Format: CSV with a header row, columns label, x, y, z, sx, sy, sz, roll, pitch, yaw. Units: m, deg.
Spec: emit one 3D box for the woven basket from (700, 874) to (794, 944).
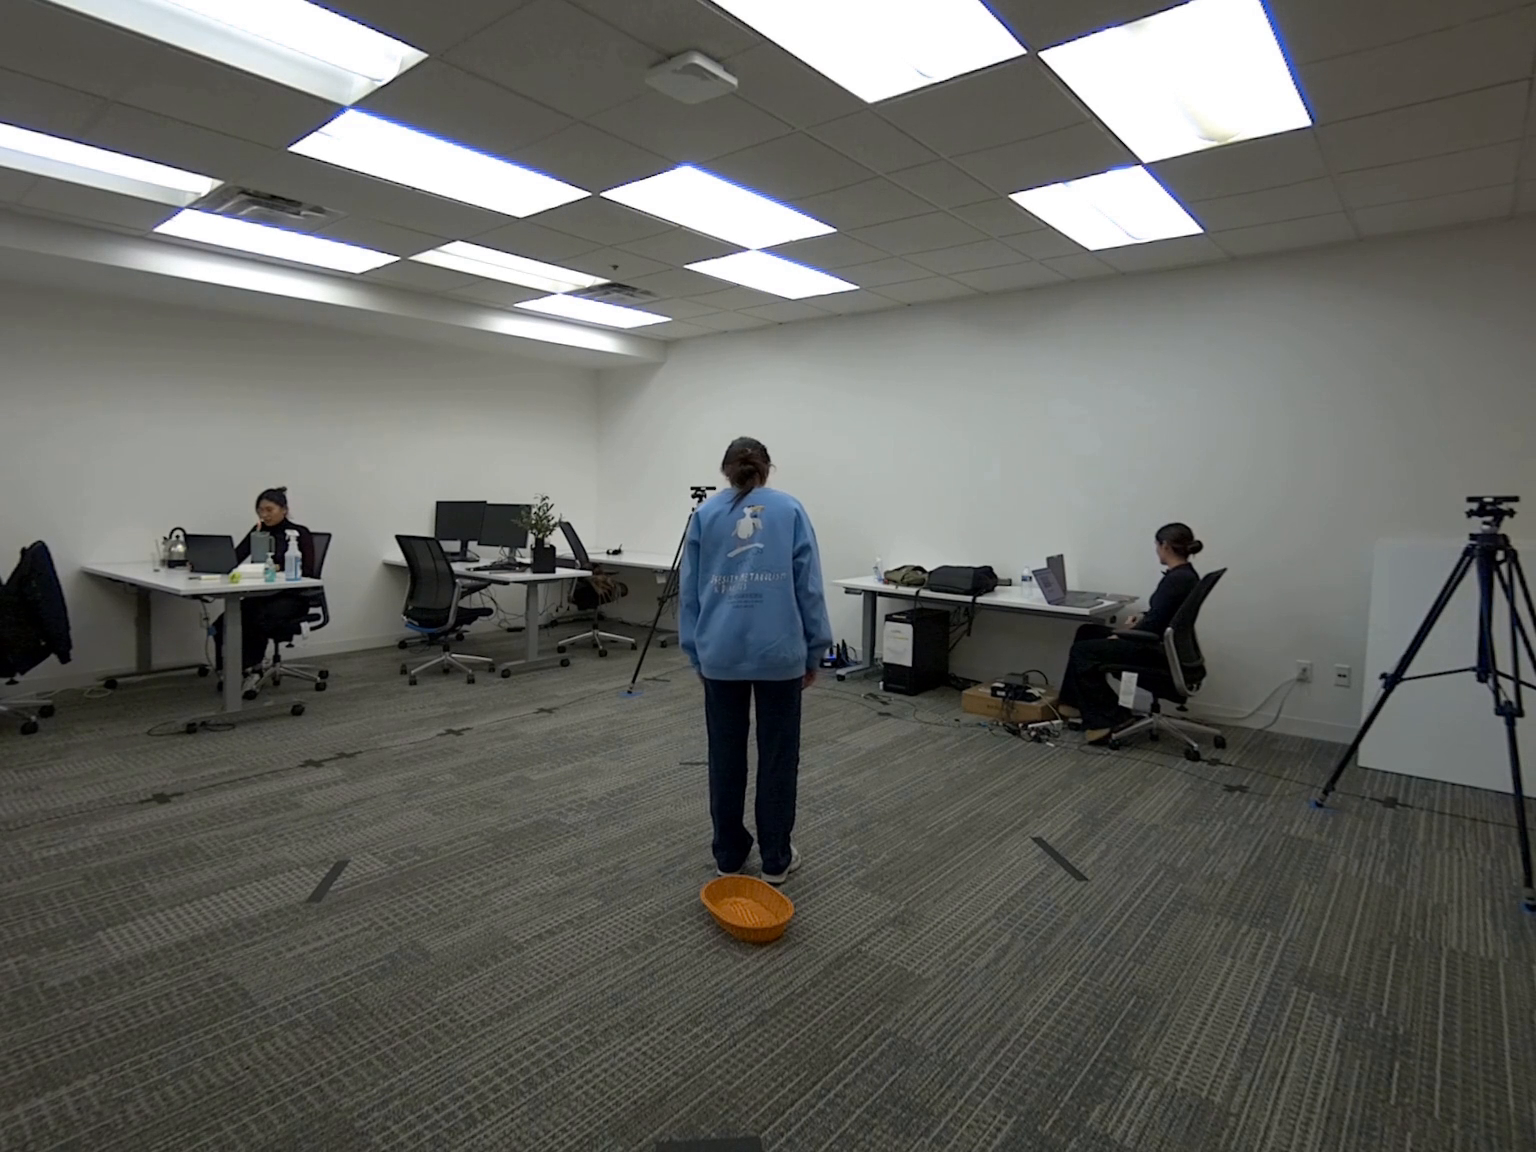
label,x,y,z,sx,sy,sz,roll,pitch,yaw
woven basket,-0.078,1.064,2.732,0.246,0.073,0.361,-3,7,-29
